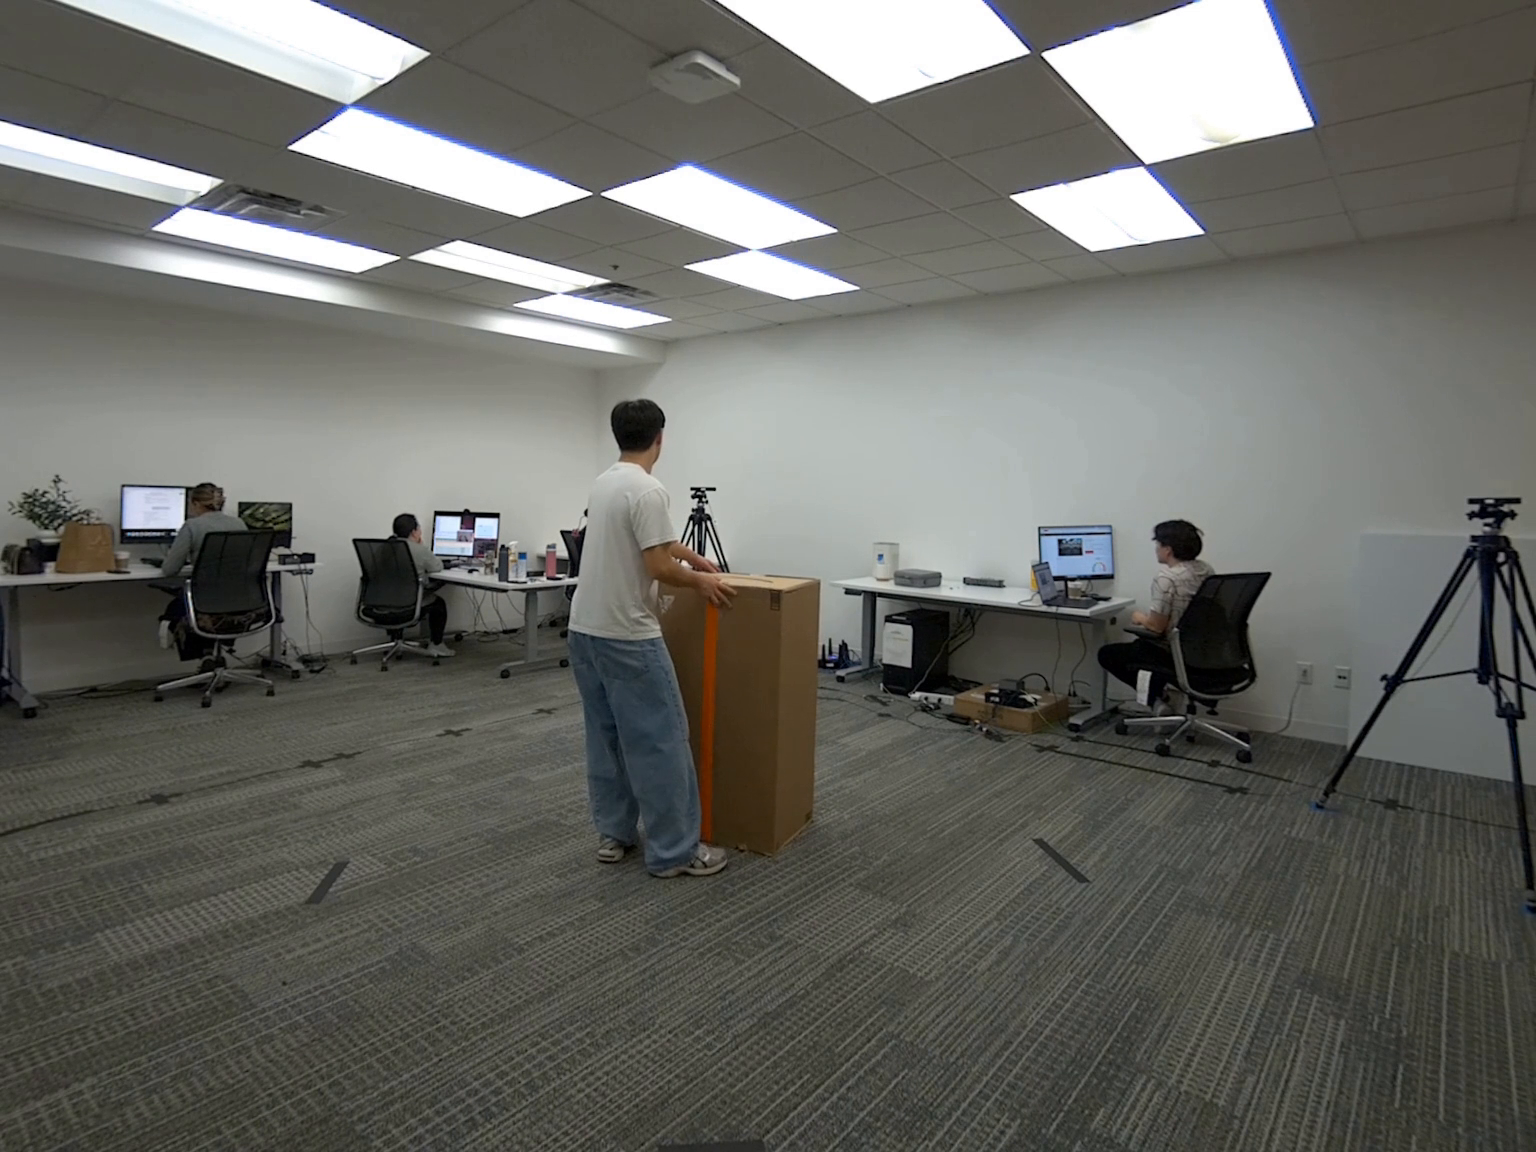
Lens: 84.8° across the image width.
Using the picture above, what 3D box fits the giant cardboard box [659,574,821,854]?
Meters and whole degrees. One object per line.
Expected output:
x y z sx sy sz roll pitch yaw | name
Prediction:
-0.144 0.519 3.509 0.593 1.022 0.416 3 4 26 | giant cardboard box
